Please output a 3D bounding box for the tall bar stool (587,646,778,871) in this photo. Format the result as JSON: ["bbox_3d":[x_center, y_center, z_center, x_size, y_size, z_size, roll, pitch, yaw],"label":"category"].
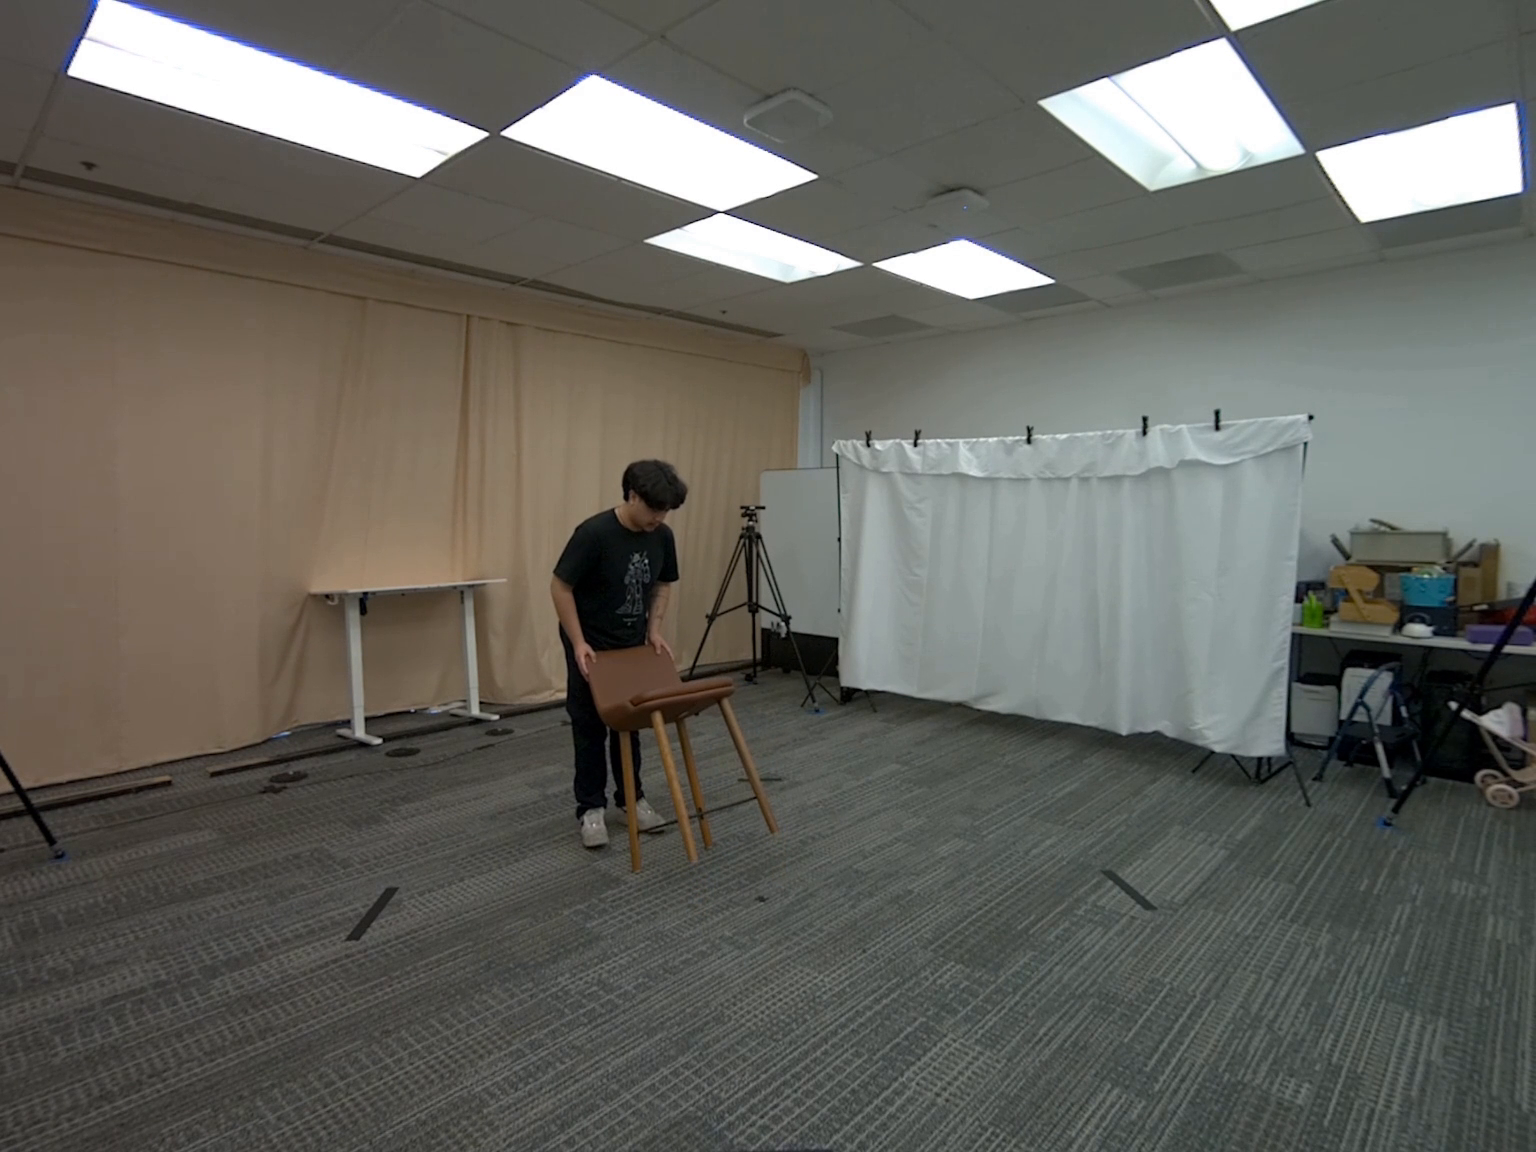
[{"bbox_3d":[-0.366,0.637,3.285,0.443,0.903,0.474,-3,-22,-39],"label":"tall bar stool"}]
